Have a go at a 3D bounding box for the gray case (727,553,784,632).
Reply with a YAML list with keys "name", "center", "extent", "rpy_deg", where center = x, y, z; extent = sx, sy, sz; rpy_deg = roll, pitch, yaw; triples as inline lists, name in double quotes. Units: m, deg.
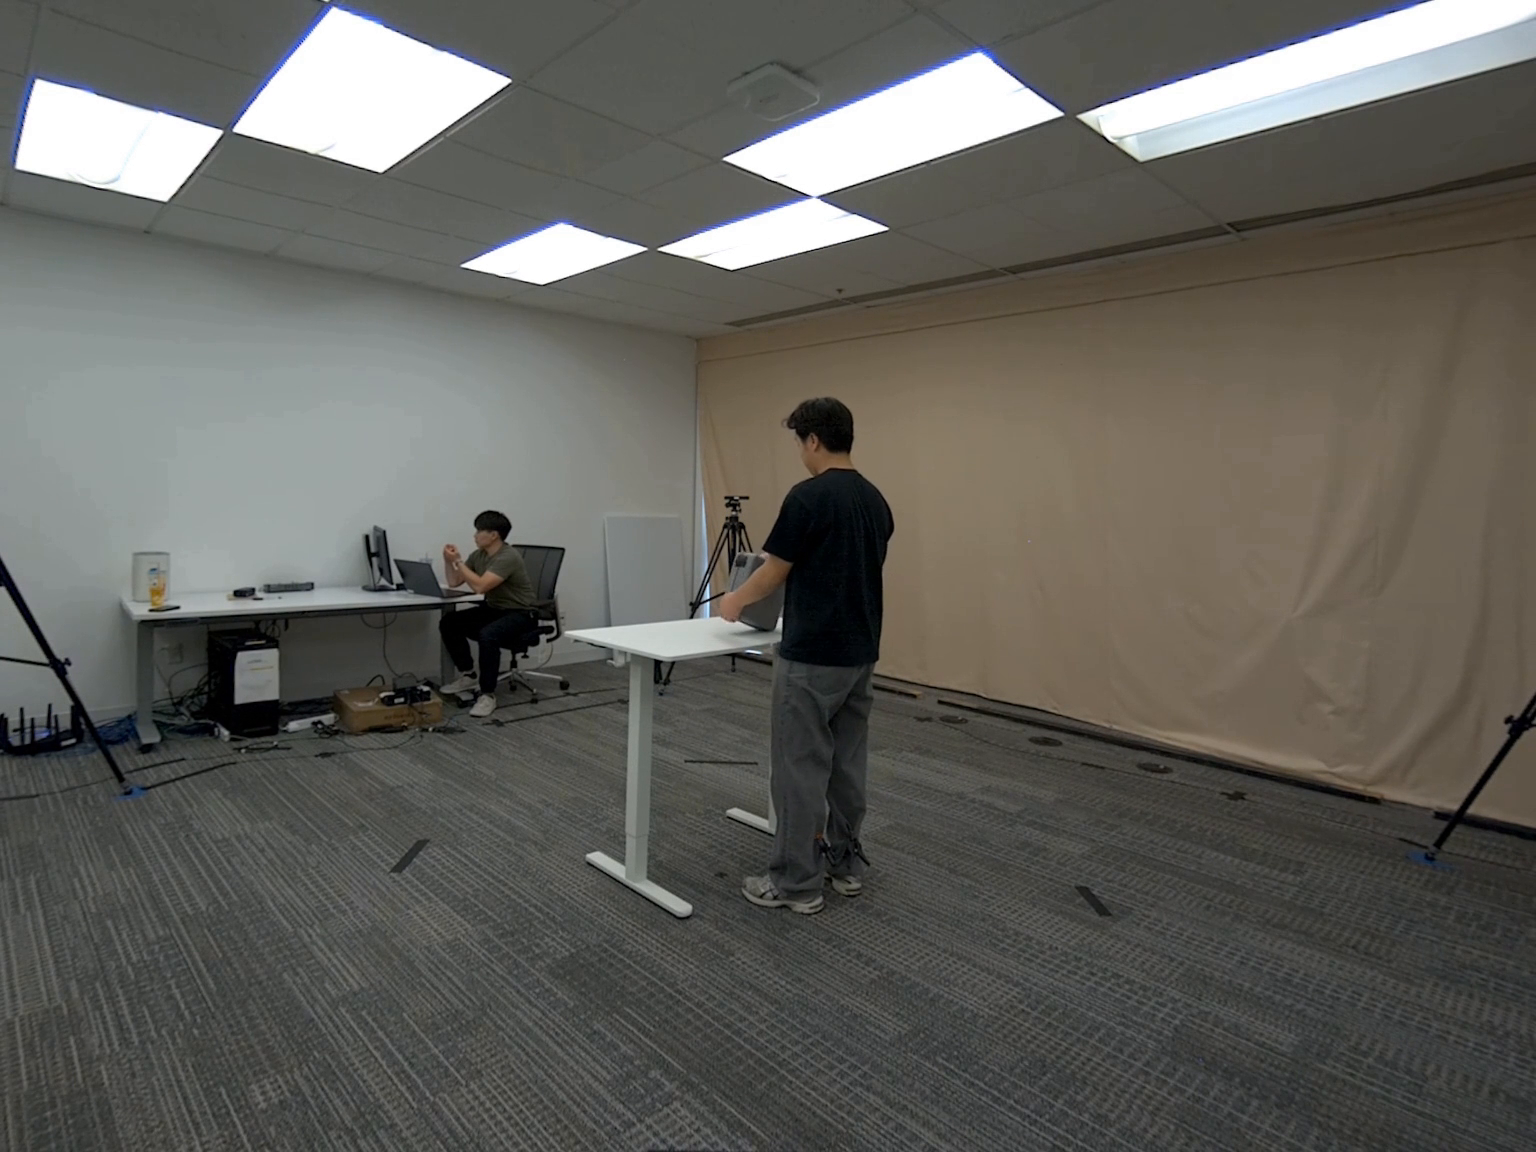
- name: "gray case"
  center: [-0.046, 0.066, 3.217]
  extent: [0.107, 0.258, 0.252]
  rpy_deg: [4, -15, 38]
